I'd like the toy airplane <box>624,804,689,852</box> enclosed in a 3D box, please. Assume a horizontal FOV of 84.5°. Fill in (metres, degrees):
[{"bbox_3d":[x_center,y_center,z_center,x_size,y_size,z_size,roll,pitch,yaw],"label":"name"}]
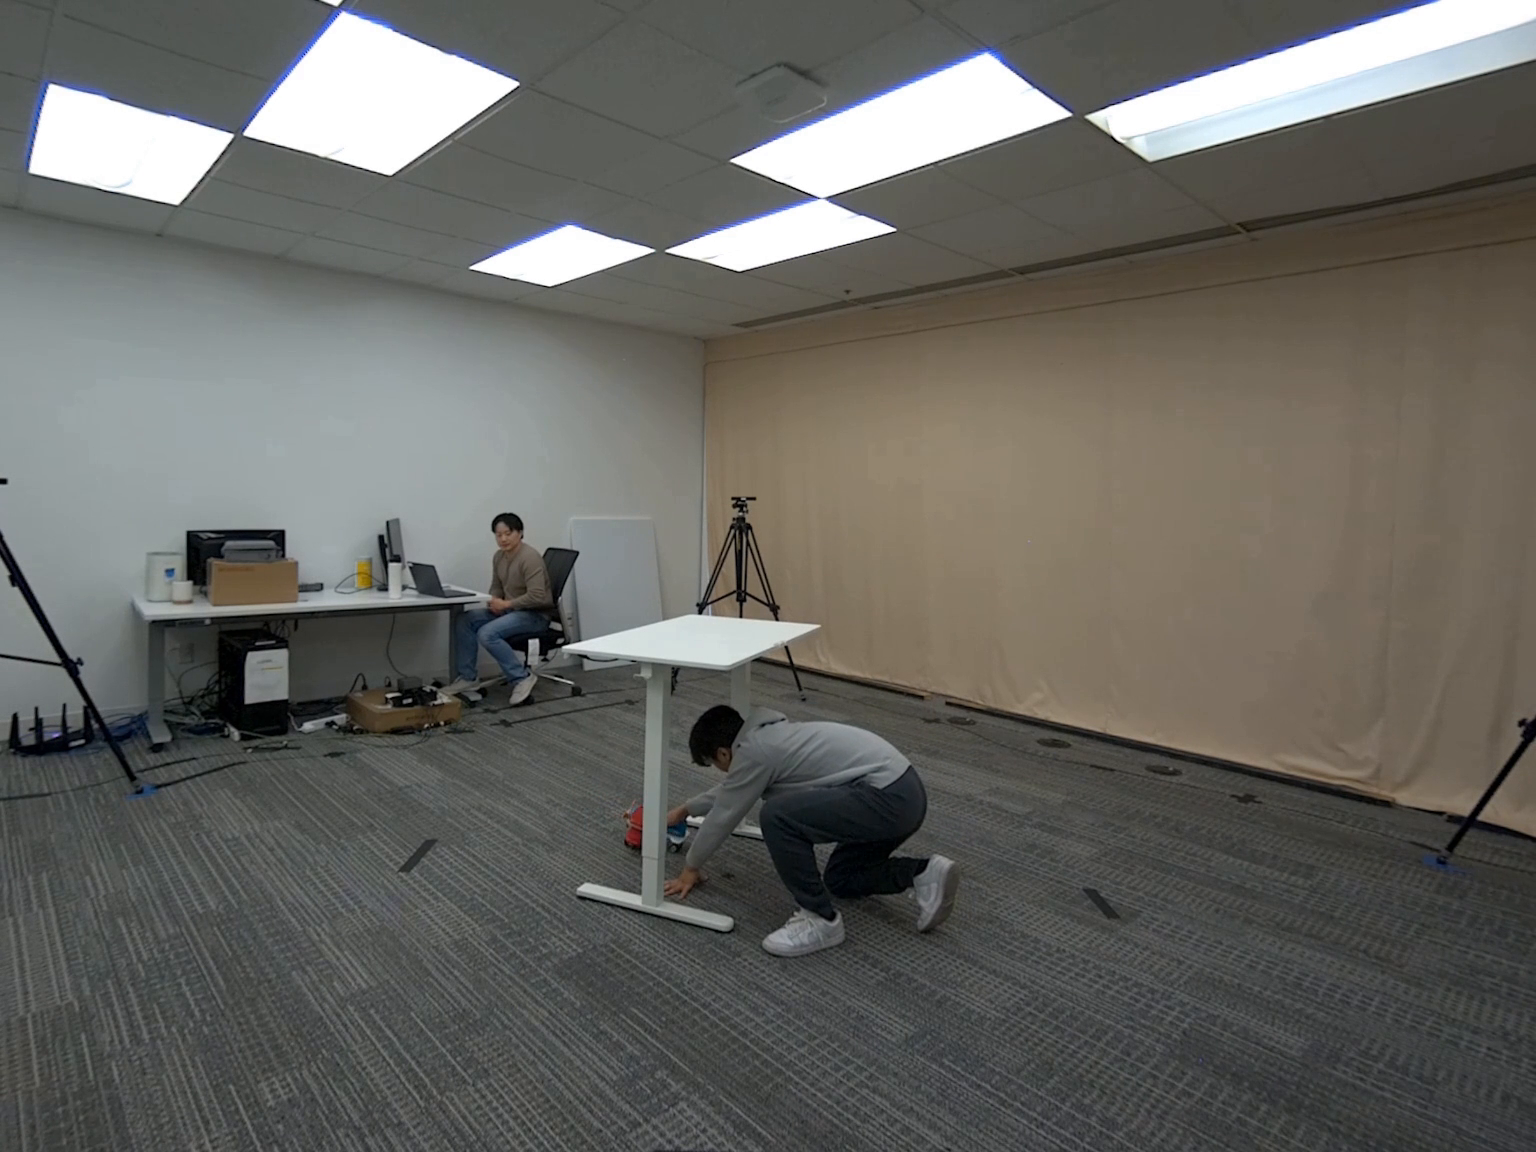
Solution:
[{"bbox_3d":[-0.452,1.006,3.365,0.257,0.156,0.254,0,6,-12],"label":"toy airplane"}]
